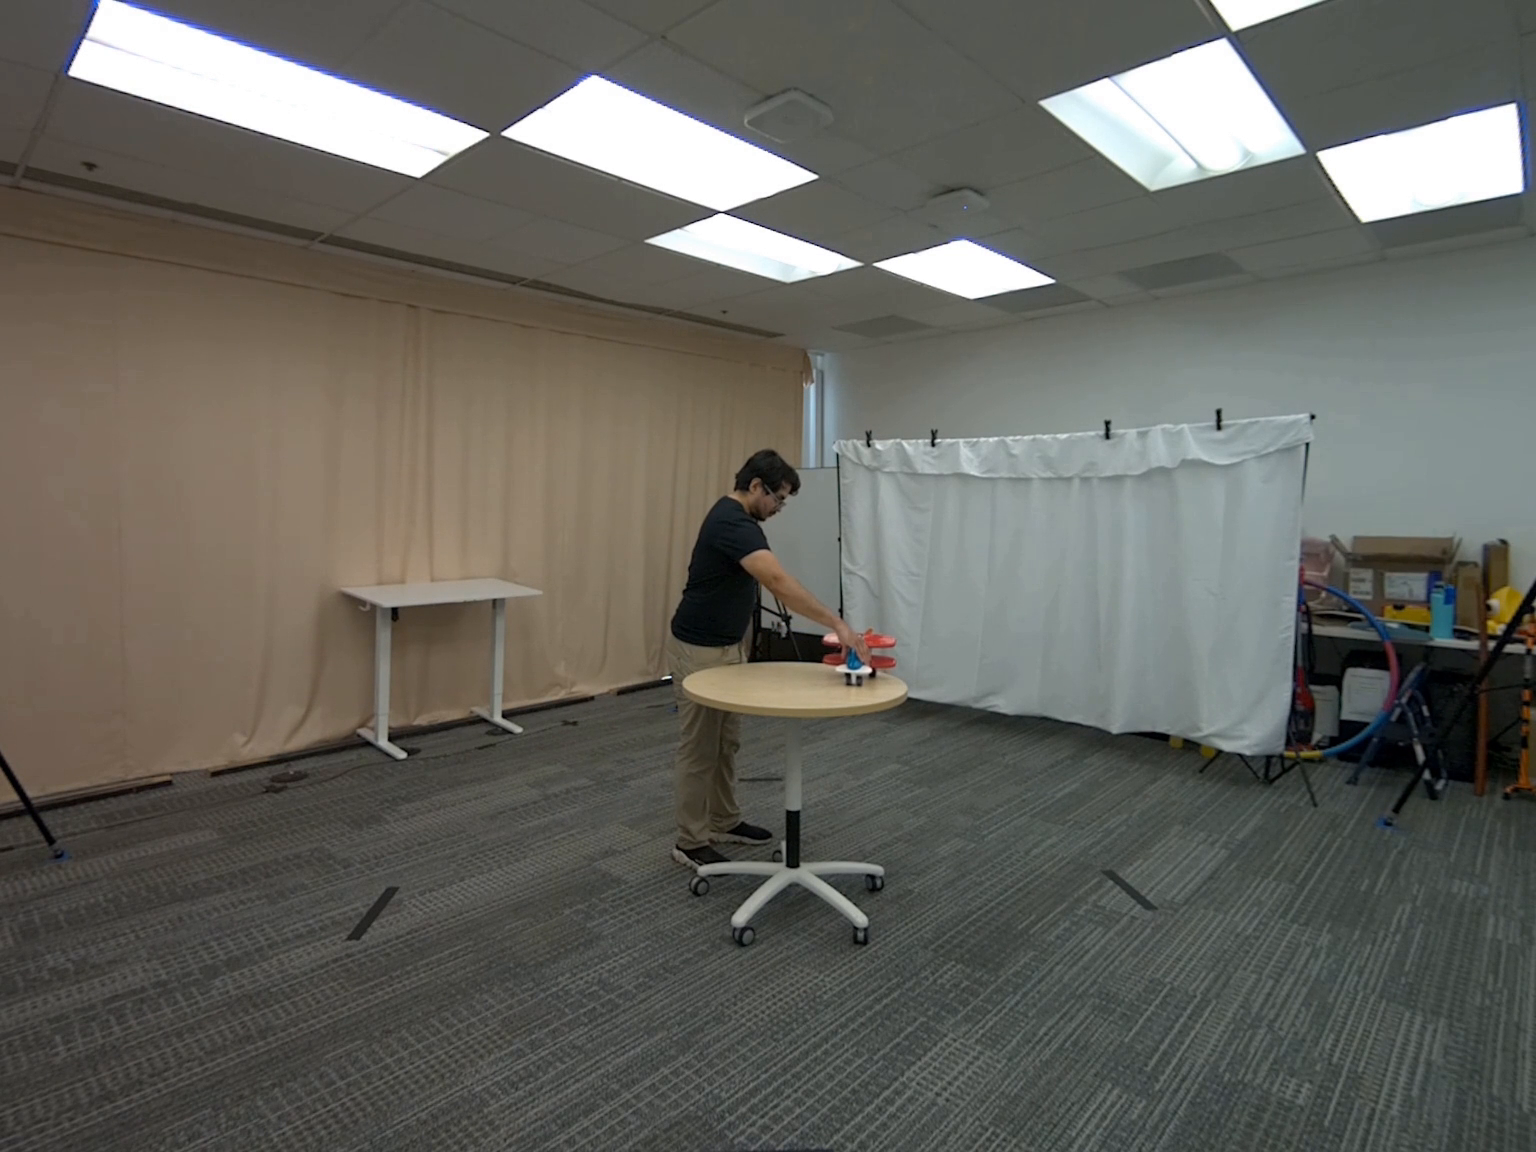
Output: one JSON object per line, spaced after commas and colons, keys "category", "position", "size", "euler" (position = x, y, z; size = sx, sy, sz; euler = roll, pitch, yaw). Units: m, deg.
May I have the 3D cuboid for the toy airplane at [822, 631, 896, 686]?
{"category": "toy airplane", "position": [0.338, 0.288, 2.927], "size": [0.247, 0.156, 0.264], "euler": [-1, 4, -15]}
